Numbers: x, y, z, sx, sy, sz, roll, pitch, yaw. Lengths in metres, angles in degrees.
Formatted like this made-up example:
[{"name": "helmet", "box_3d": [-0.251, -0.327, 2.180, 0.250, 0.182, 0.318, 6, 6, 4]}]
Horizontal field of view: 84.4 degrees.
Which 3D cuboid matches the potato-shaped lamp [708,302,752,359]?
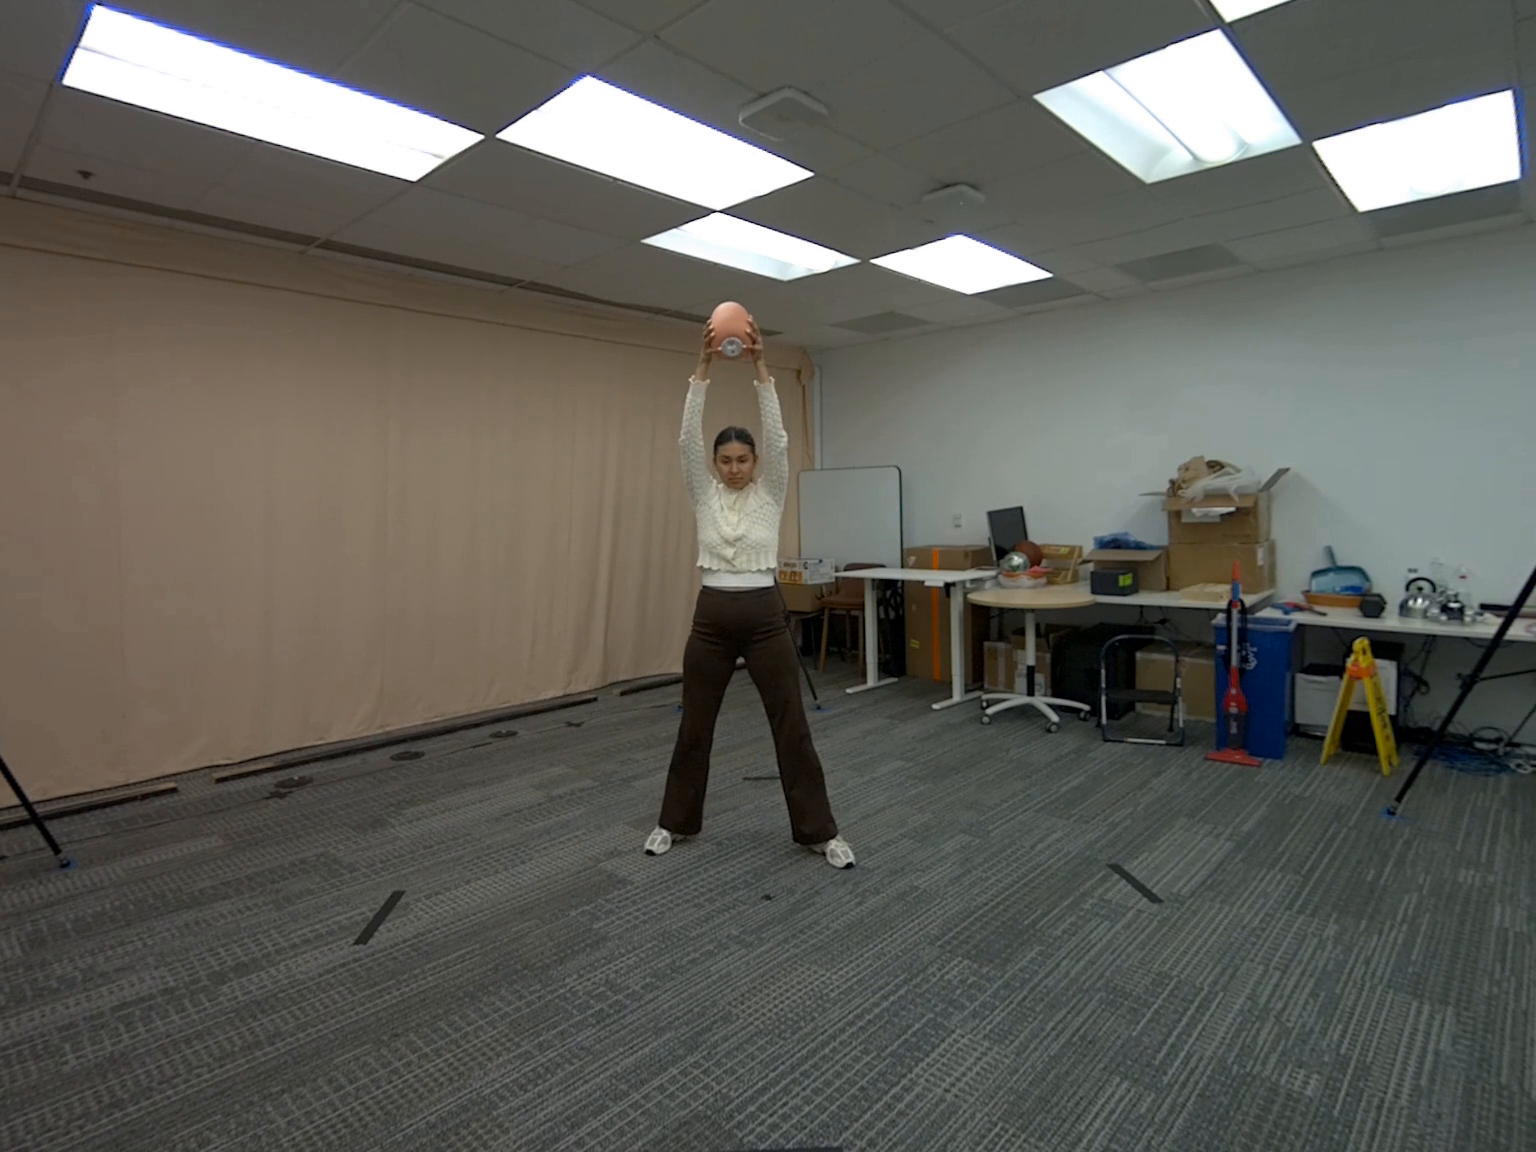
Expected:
[{"name": "potato-shaped lamp", "box_3d": [-0.139, -0.898, 3.055, 0.165, 0.203, 0.167, -10, -38, 1]}]
